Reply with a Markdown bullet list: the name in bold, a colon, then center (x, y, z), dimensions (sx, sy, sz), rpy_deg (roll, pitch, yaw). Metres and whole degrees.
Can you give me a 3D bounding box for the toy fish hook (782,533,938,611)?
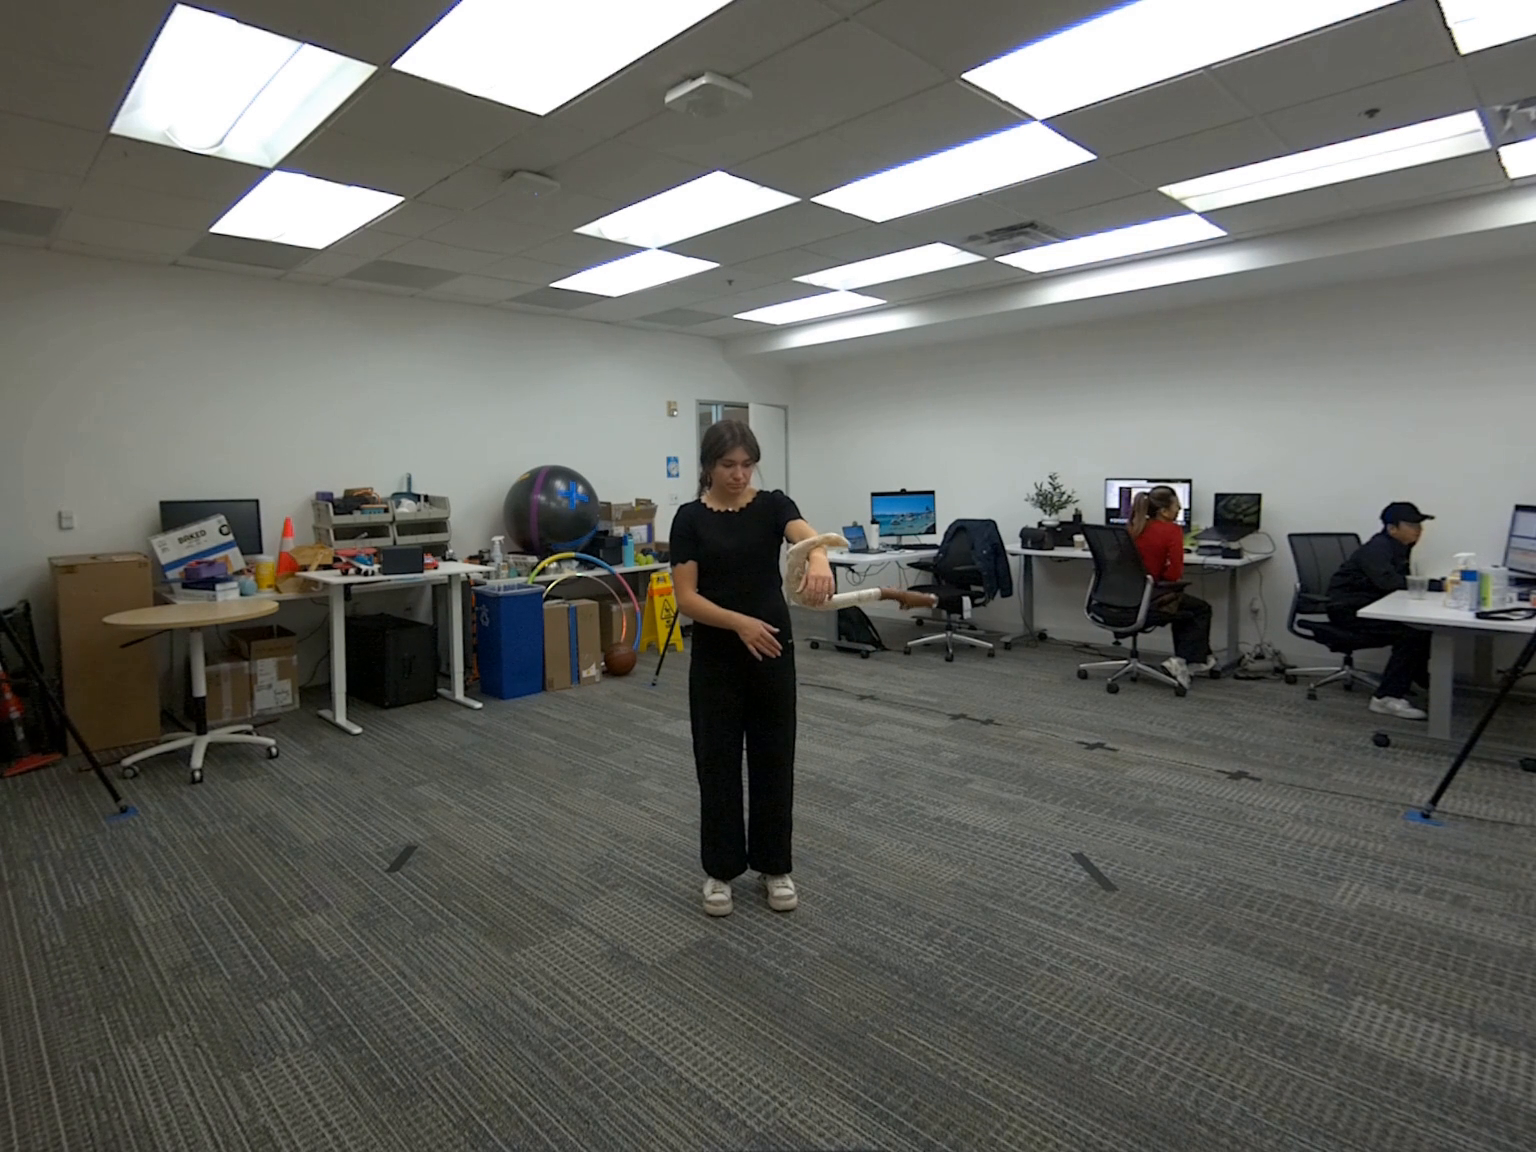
- **toy fish hook**: center (0.265, 0.010, 2.504), dimensions (0.497, 0.224, 0.049), rpy_deg (6, 3, -17)
